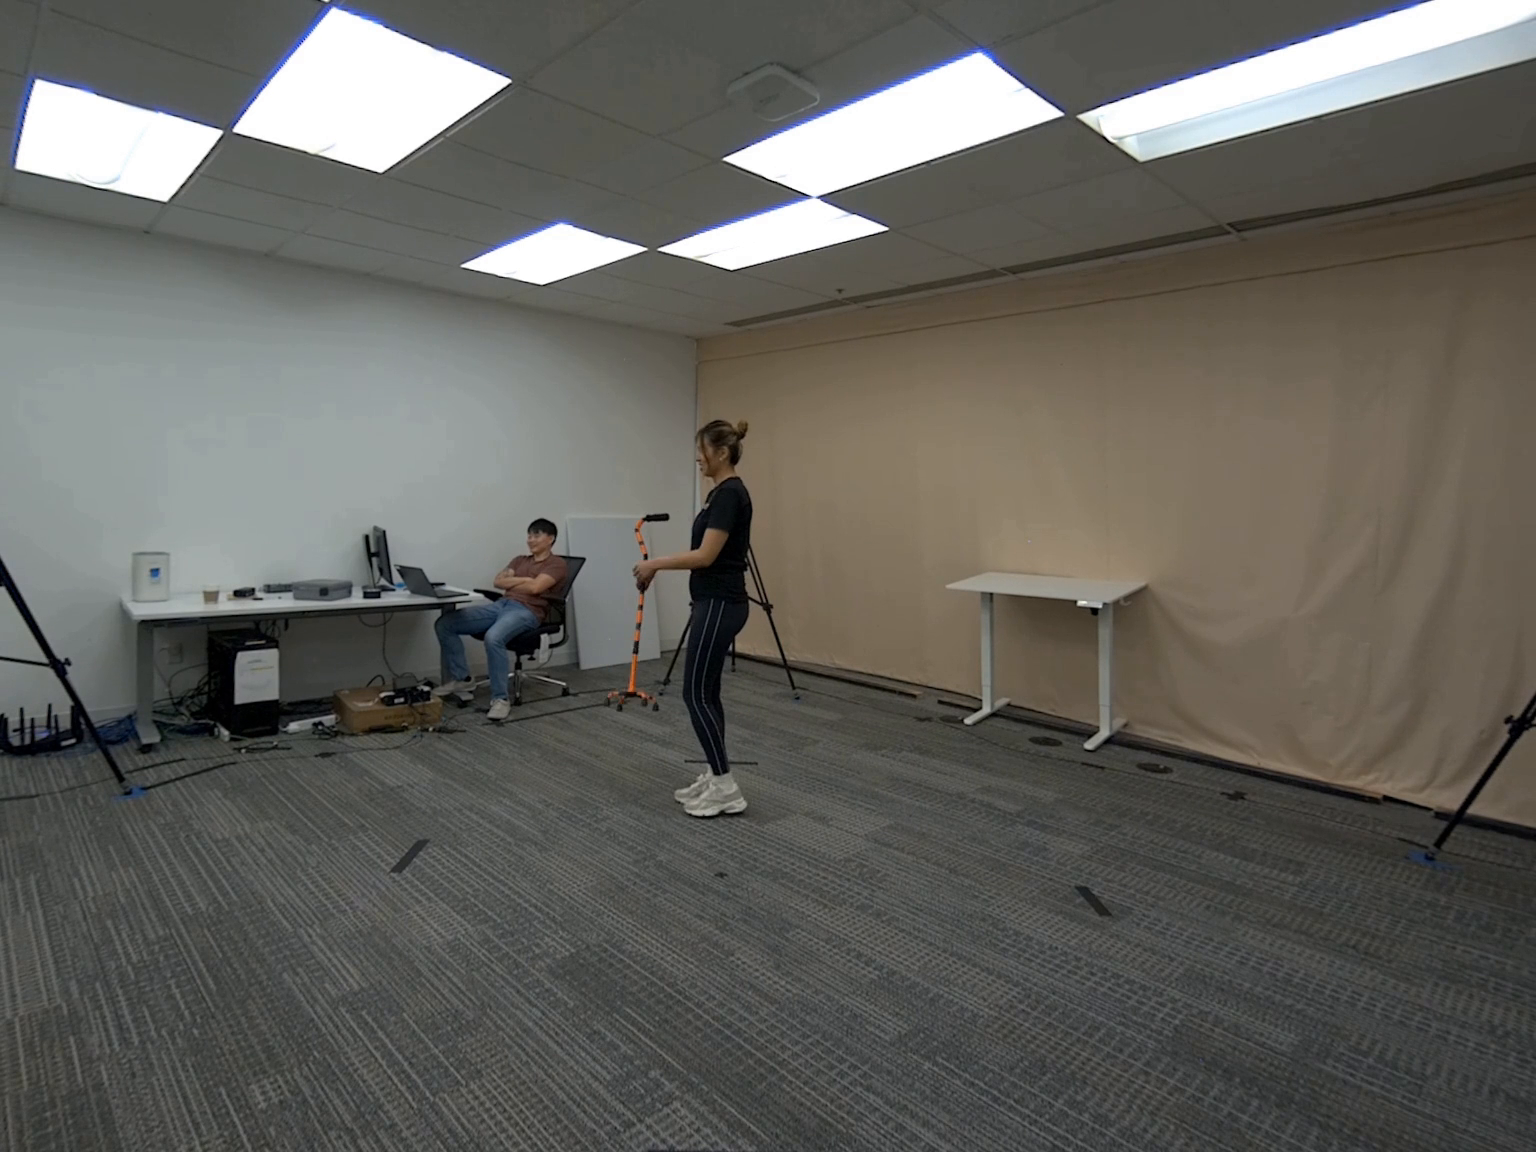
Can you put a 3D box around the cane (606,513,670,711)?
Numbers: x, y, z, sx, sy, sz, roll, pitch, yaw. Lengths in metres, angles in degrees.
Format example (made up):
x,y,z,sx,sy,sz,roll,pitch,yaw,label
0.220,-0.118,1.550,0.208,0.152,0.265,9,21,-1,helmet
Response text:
x,y,z,sx,sy,sz,roll,pitch,yaw,label
-0.577,0.152,3.824,0.209,0.920,0.147,-2,-22,19,cane
